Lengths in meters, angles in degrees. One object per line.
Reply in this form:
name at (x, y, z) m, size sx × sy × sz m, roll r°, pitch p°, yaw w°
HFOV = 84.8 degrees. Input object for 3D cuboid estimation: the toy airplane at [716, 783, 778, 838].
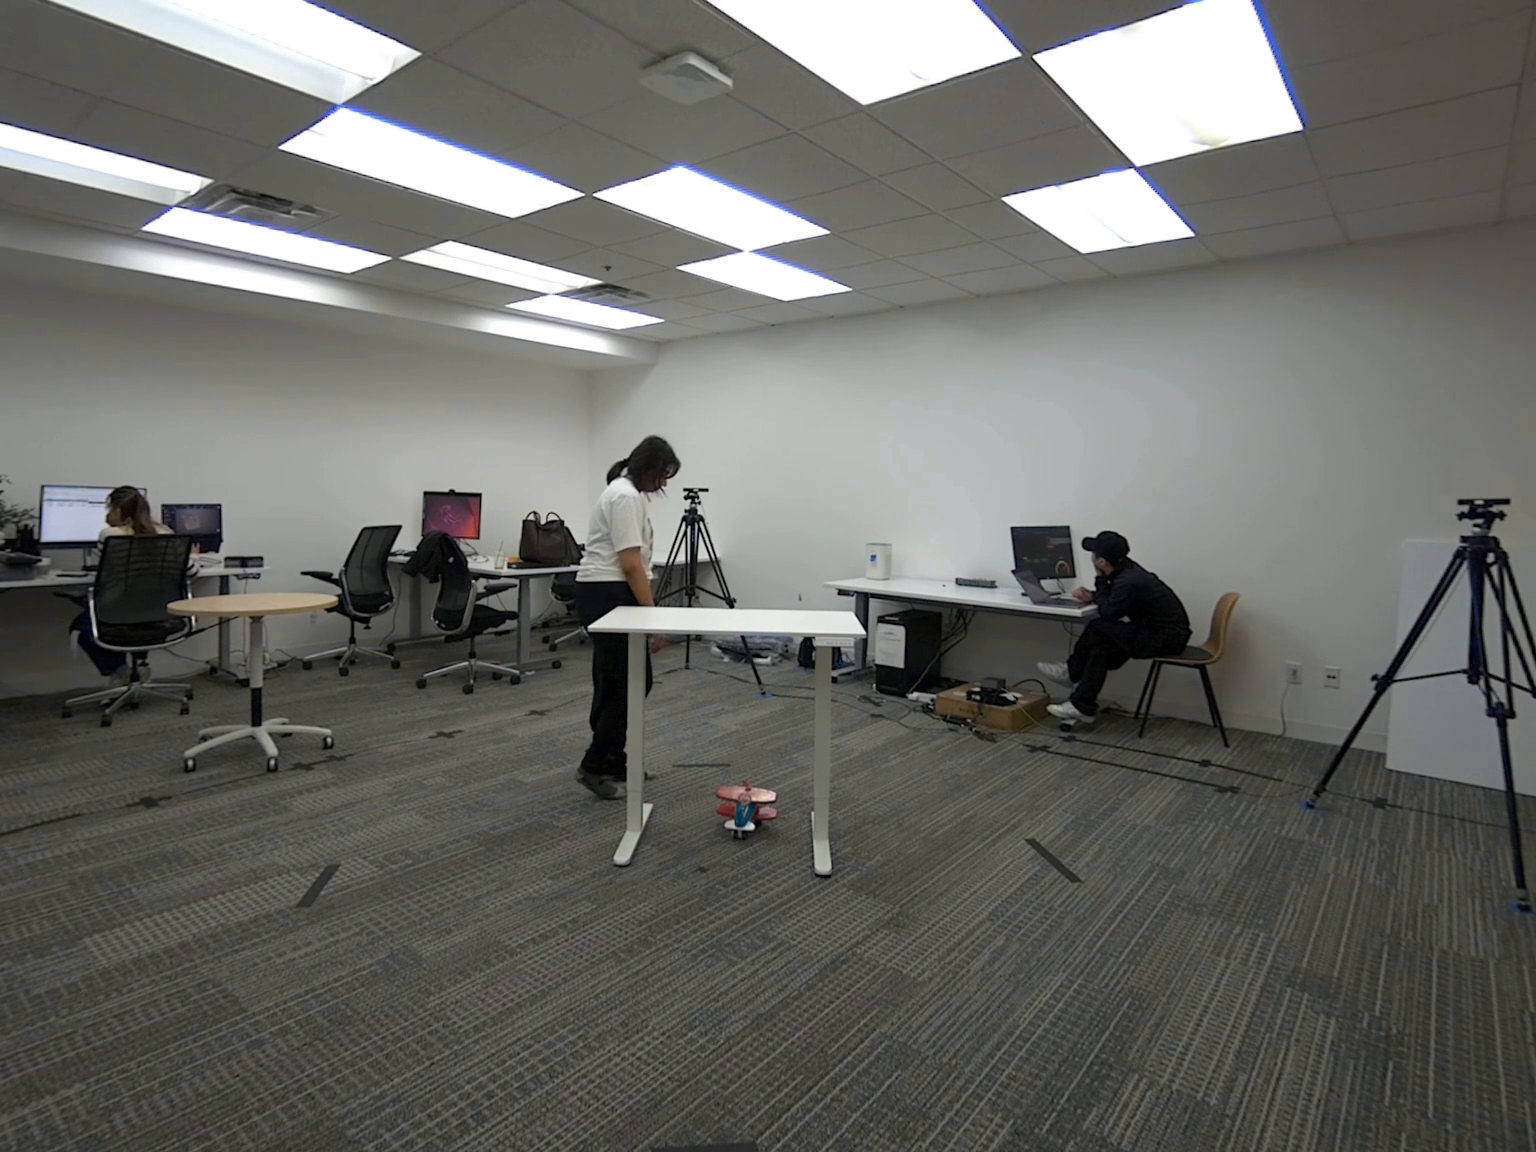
toy airplane at (-0.085, 0.964, 3.476) m, size 0.247 × 0.156 × 0.264 m, roll -1°, pitch 4°, yaw -17°
